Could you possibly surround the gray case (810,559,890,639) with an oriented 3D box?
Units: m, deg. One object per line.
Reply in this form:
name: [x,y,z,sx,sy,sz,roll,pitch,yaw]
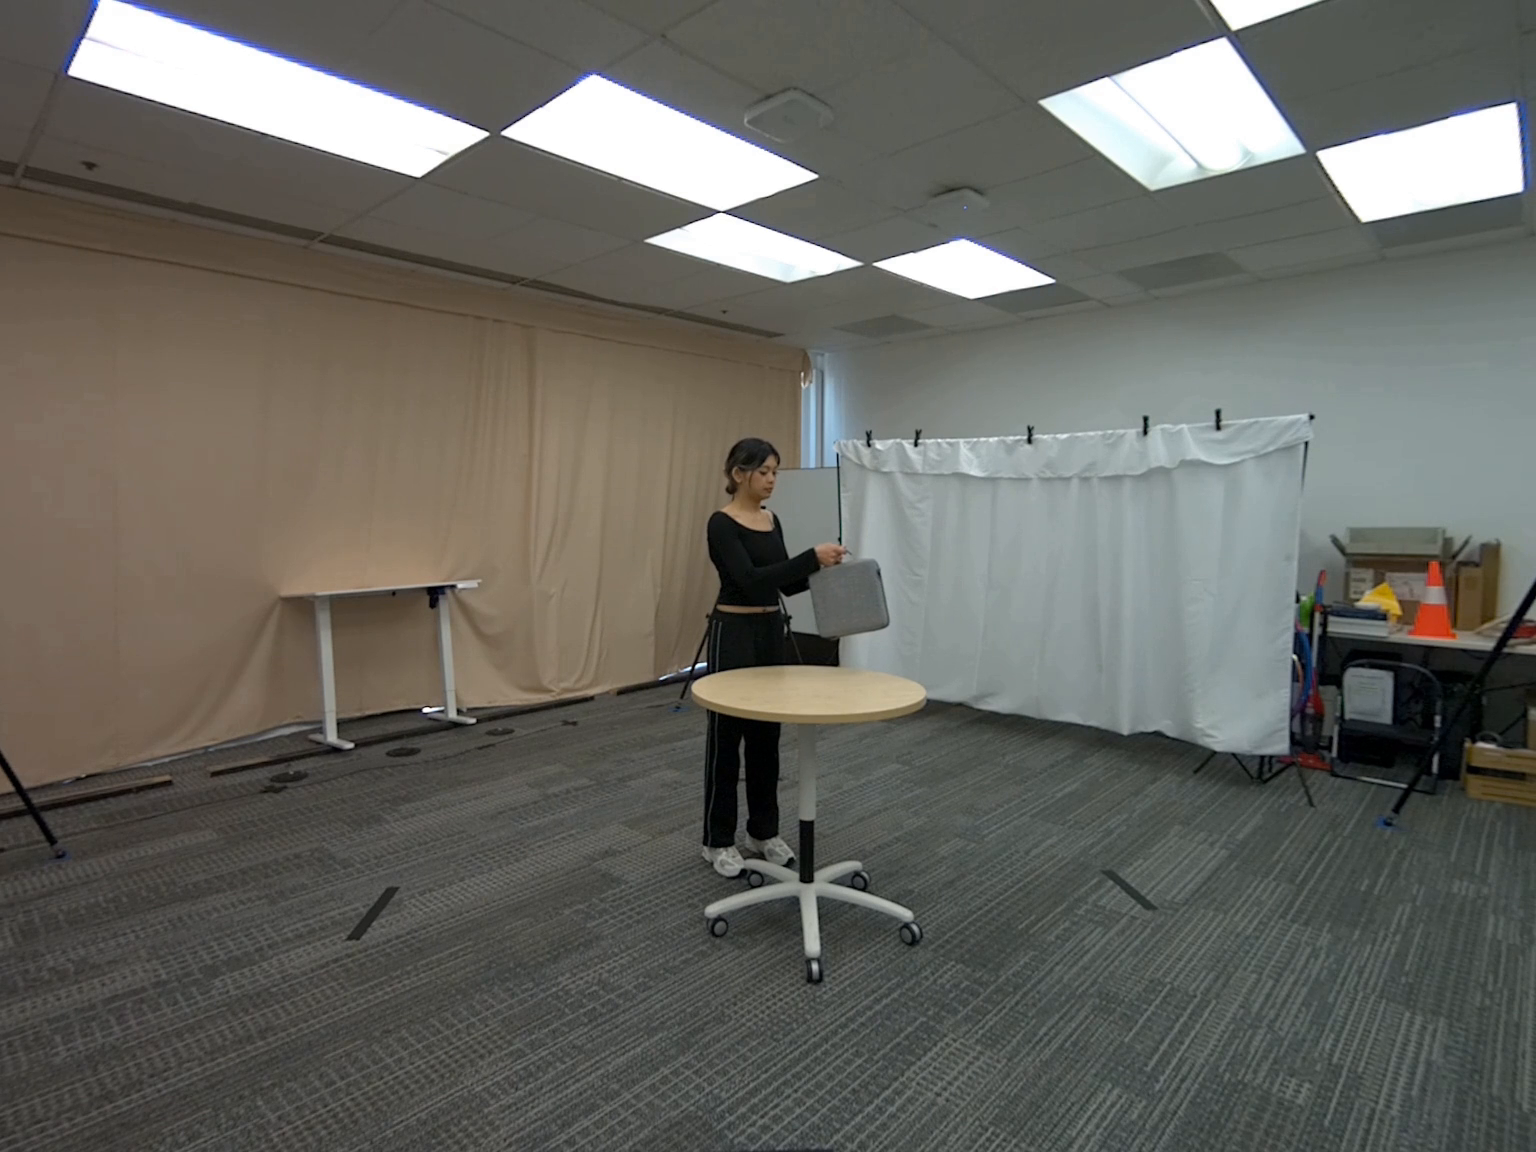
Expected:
gray case: [0.296,0.079,3.017,0.261,0.262,0.102,-15,-8,20]
